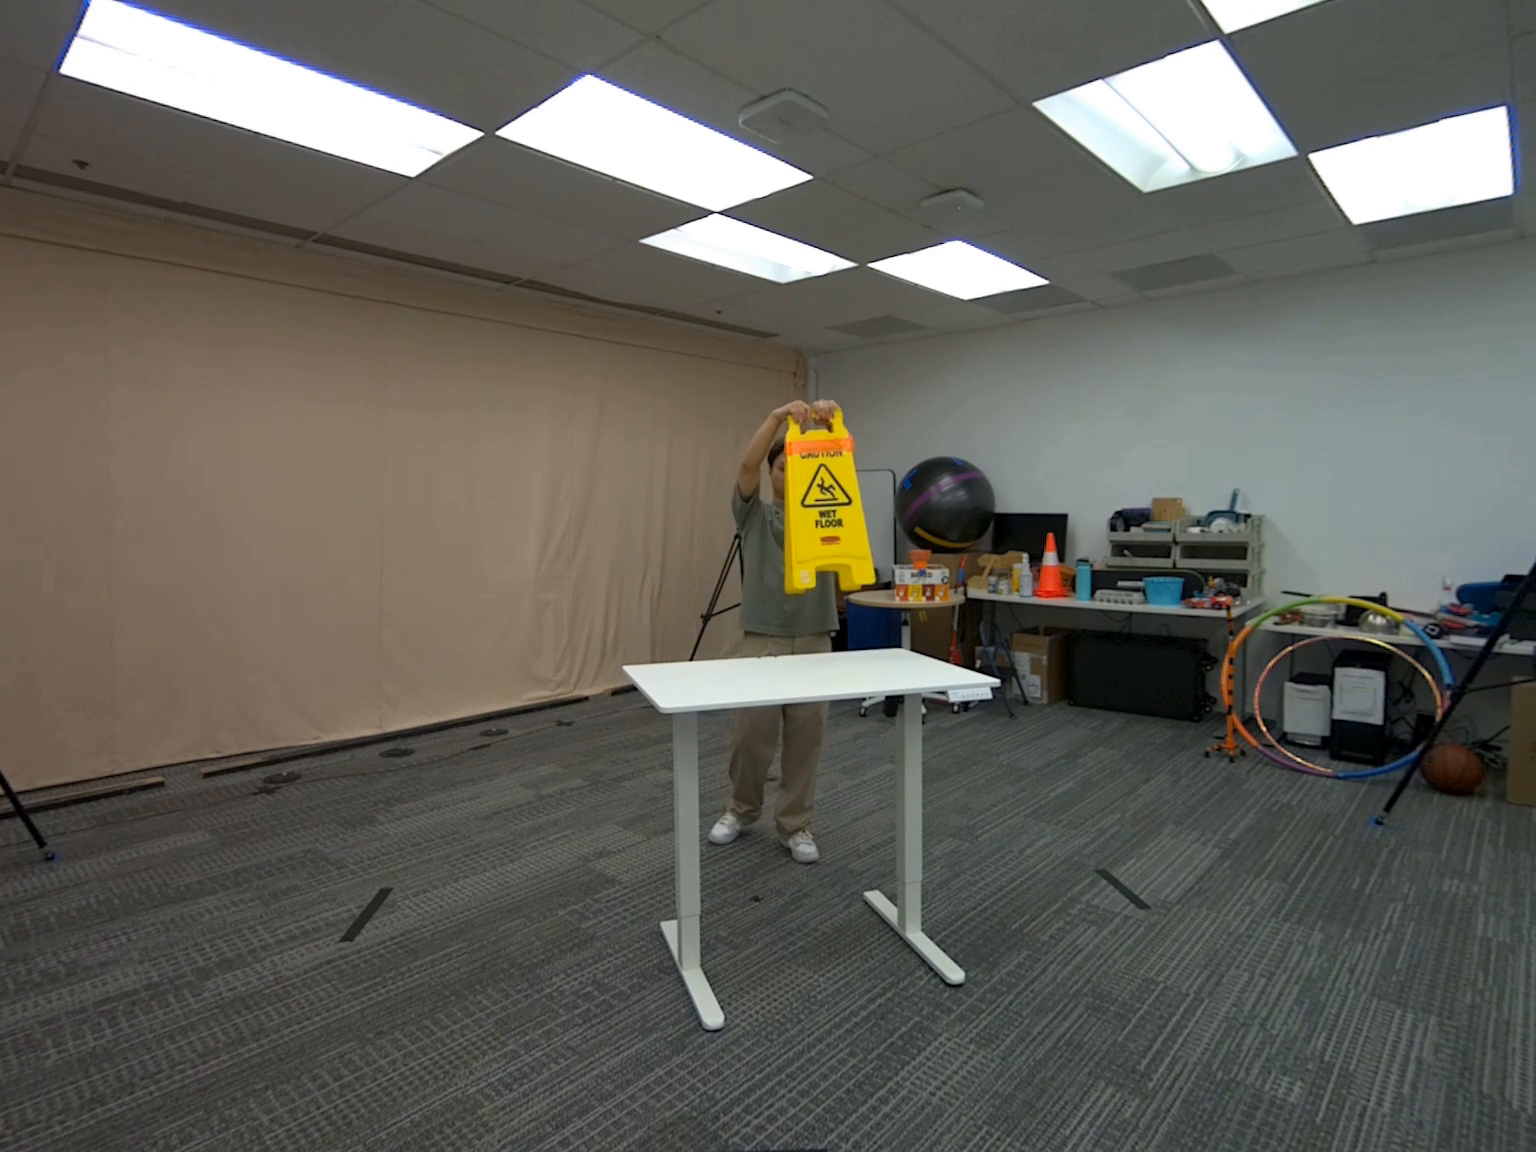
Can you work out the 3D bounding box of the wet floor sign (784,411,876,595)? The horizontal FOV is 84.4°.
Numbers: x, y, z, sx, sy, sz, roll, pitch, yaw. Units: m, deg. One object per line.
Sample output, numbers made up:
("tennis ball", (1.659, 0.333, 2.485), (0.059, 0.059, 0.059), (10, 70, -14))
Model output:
("wet floor sign", (0.182, -0.270, 2.995), (0.281, 0.648, 0.290), (-3, -5, -4))
